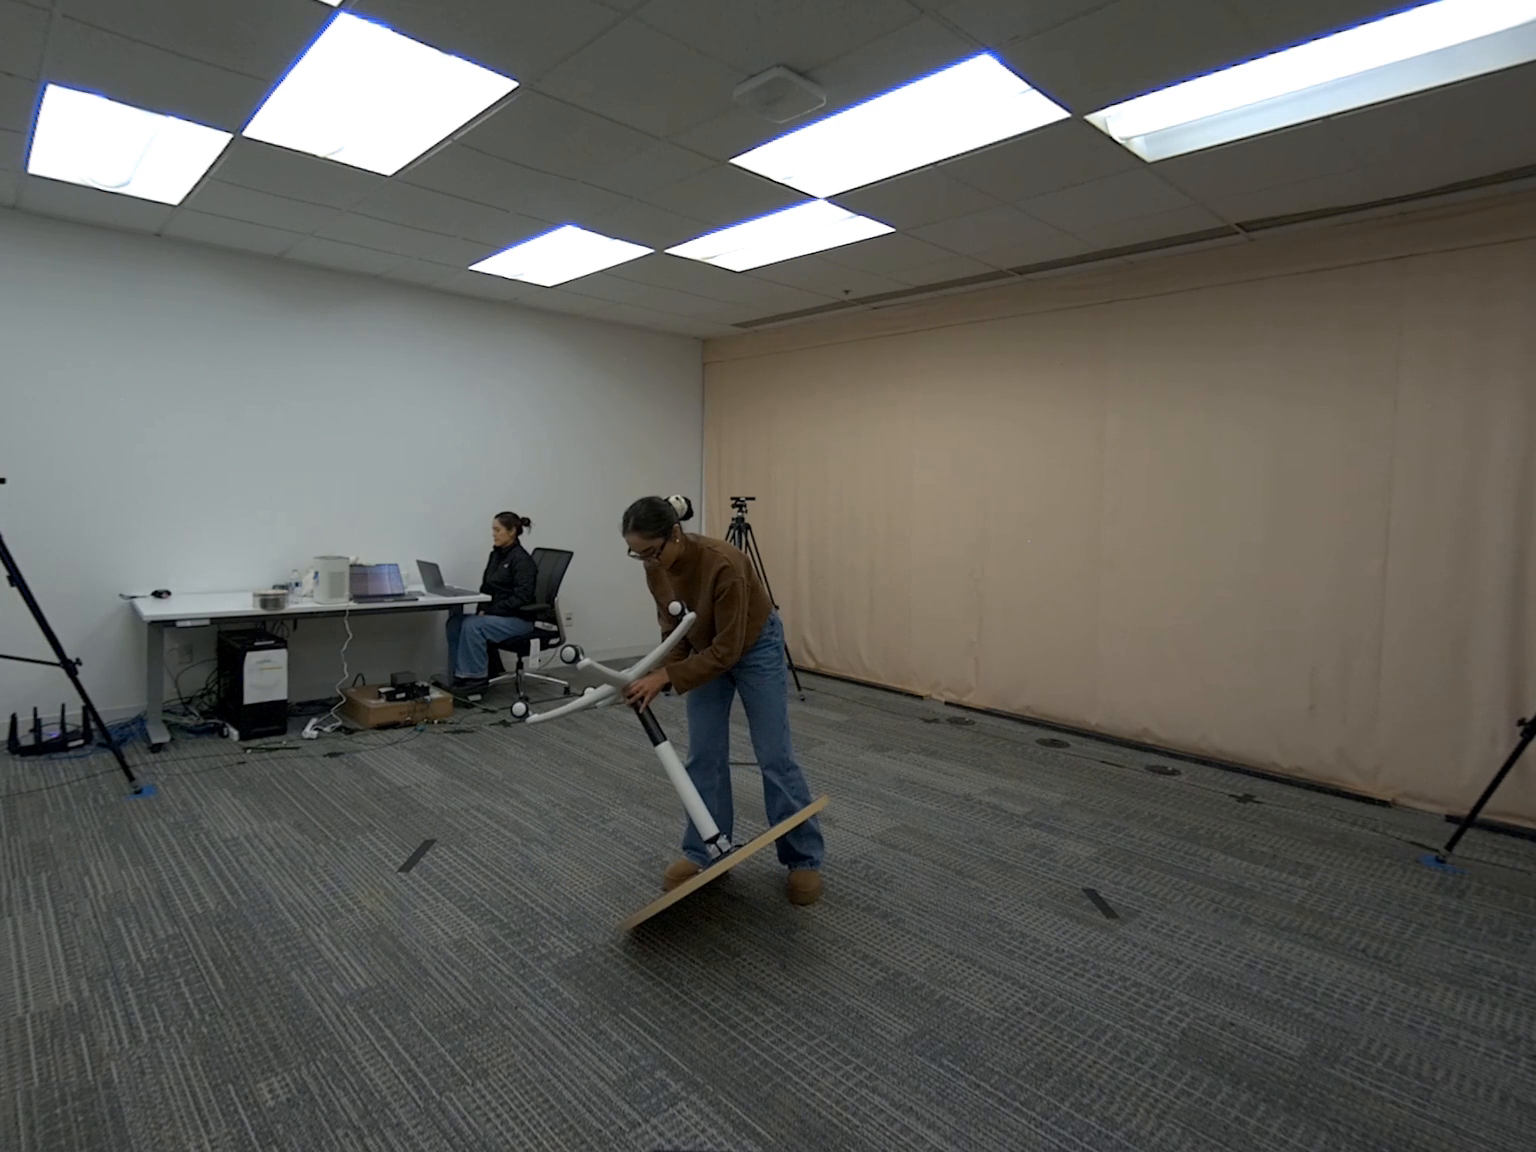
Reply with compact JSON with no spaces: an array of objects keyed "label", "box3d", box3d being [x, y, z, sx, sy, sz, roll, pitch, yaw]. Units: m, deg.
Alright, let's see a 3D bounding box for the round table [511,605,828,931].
[{"label":"round table","box3d":[-0.341,0.592,2.755,0.761,0.807,0.754,-29,-16,-10]}]
